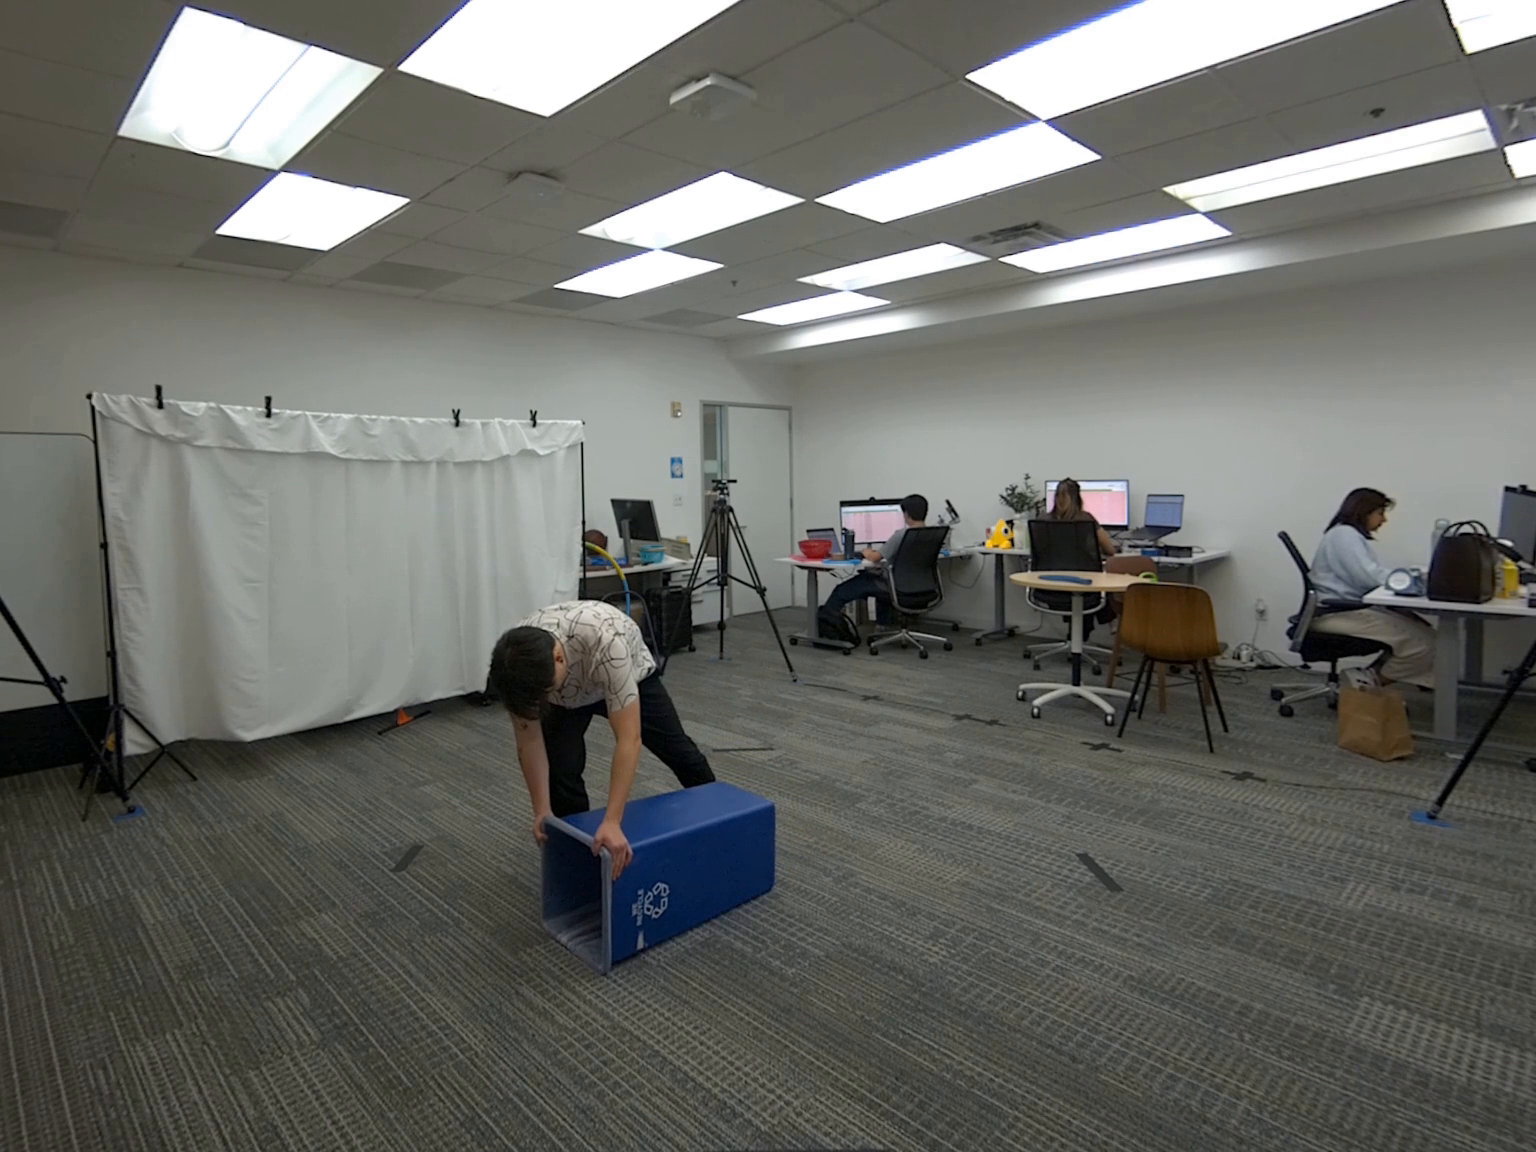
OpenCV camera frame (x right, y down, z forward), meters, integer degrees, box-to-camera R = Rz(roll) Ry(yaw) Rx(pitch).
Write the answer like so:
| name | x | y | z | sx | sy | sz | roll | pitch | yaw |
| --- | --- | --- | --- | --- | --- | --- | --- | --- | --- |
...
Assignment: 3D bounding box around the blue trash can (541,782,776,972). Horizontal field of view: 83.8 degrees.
| name | x | y | z | sx | sy | sz | roll | pitch | yaw |
| --- | --- | --- | --- | --- | --- | --- | --- | --- | --- |
| blue trash can | -0.326 | 0.921 | 2.776 | 0.694 | 0.377 | 0.385 | -4 | 5 | -42 |
